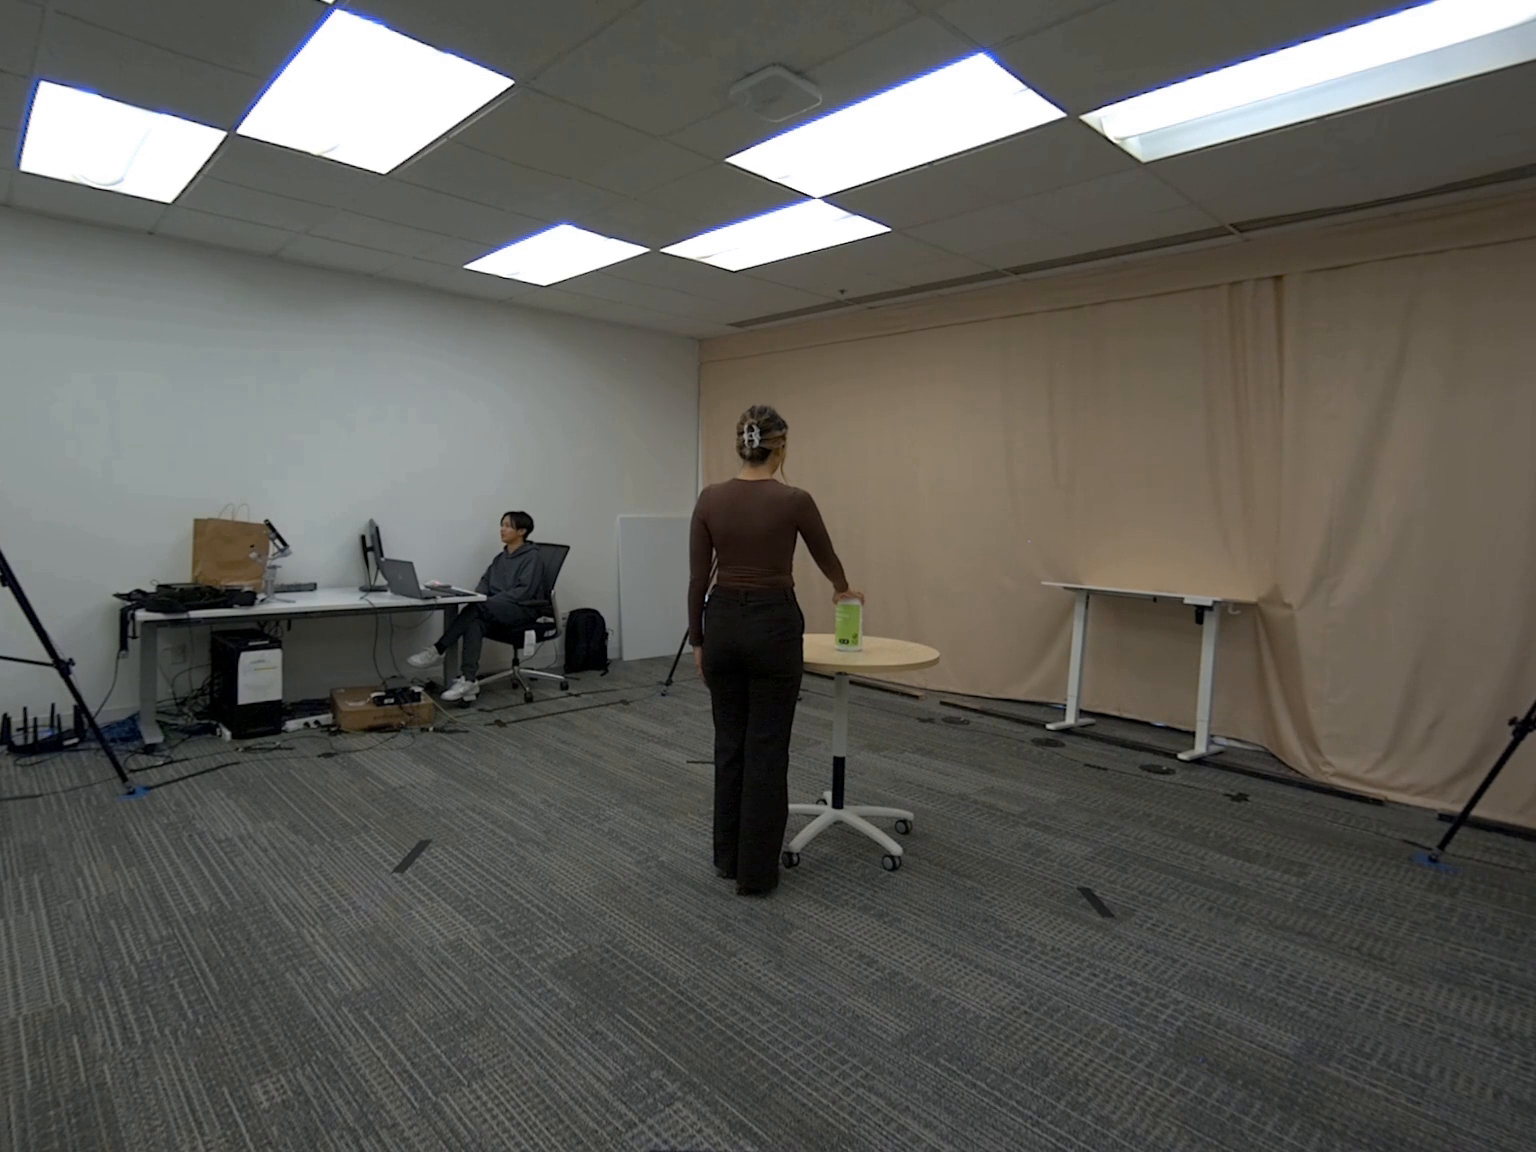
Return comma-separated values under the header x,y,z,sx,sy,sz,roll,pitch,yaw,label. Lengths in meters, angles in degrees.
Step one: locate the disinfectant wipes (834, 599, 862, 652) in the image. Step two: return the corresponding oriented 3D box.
x,y,z,sx,sy,sz,roll,pitch,yaw,label
0.320,0.189,3.382,0.118,0.216,0.118,0,5,-1,disinfectant wipes
